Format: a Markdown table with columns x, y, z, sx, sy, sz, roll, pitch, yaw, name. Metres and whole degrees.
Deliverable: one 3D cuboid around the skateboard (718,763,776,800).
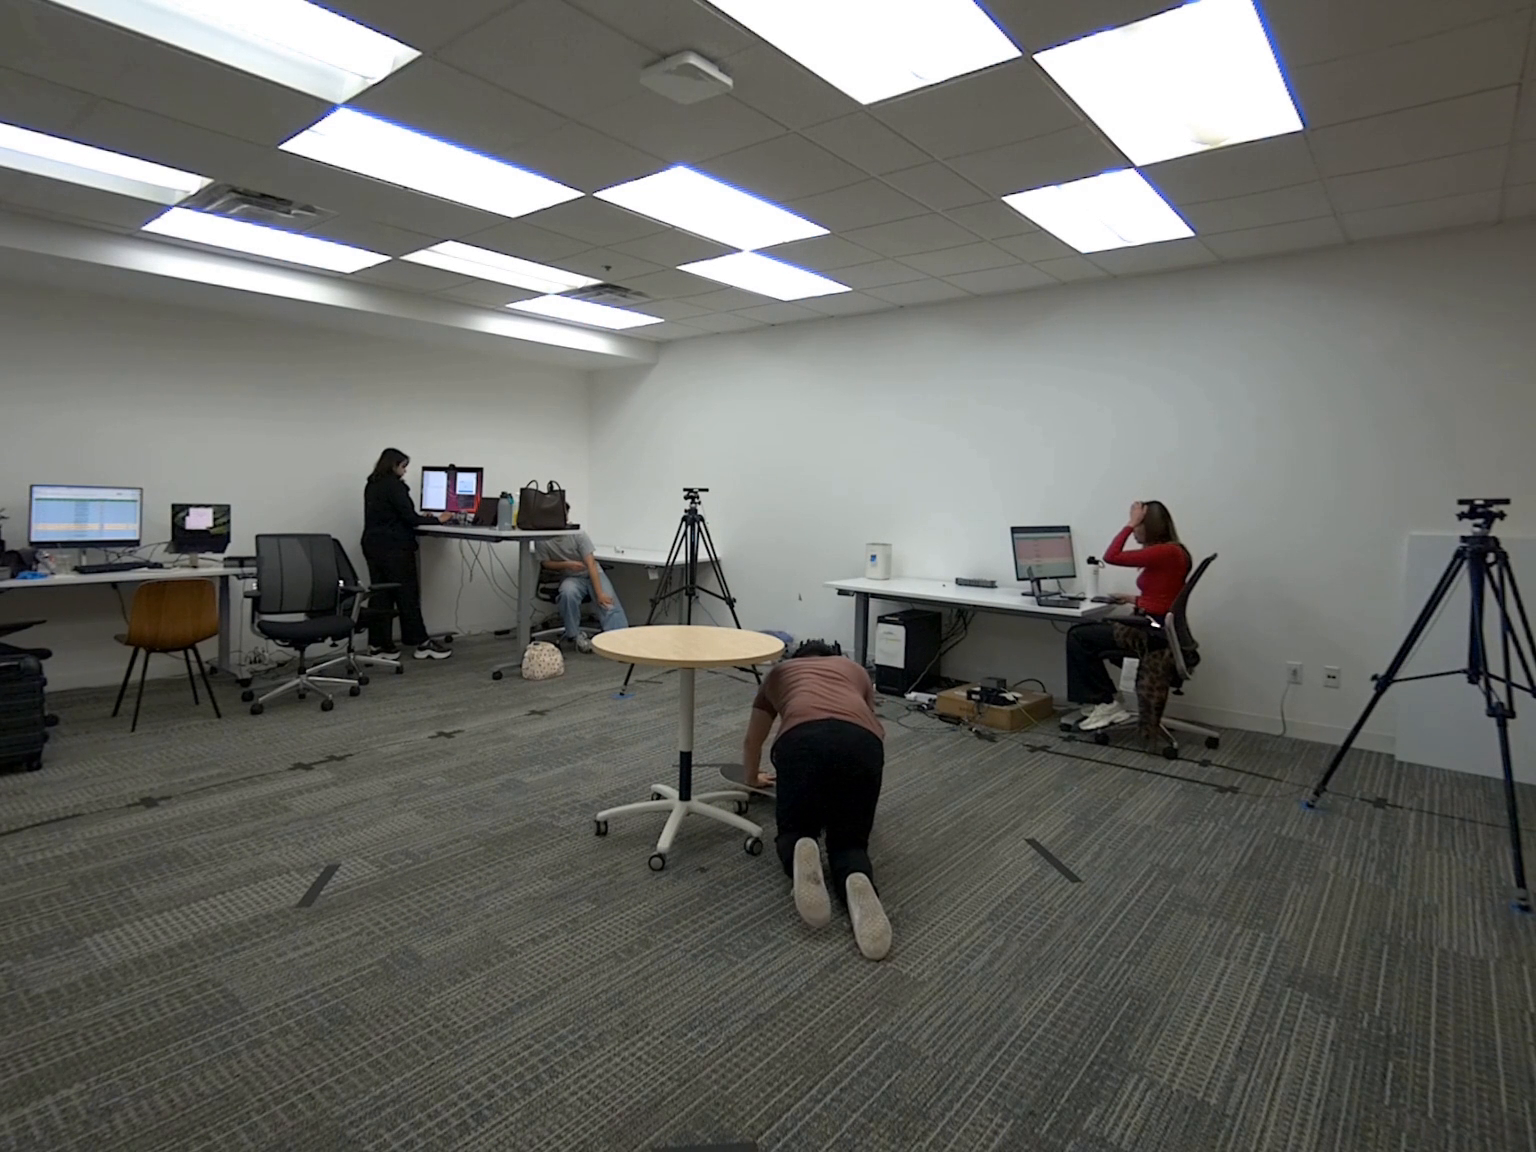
| x | y | z | sx | sy | sz | roll | pitch | yaw | name |
| --- | --- | --- | --- | --- | --- | --- | --- | --- | --- |
| 0.091 | 0.953 | 3.706 | 0.812 | 0.110 | 0.188 | 6 | 8 | 40 | skateboard |
